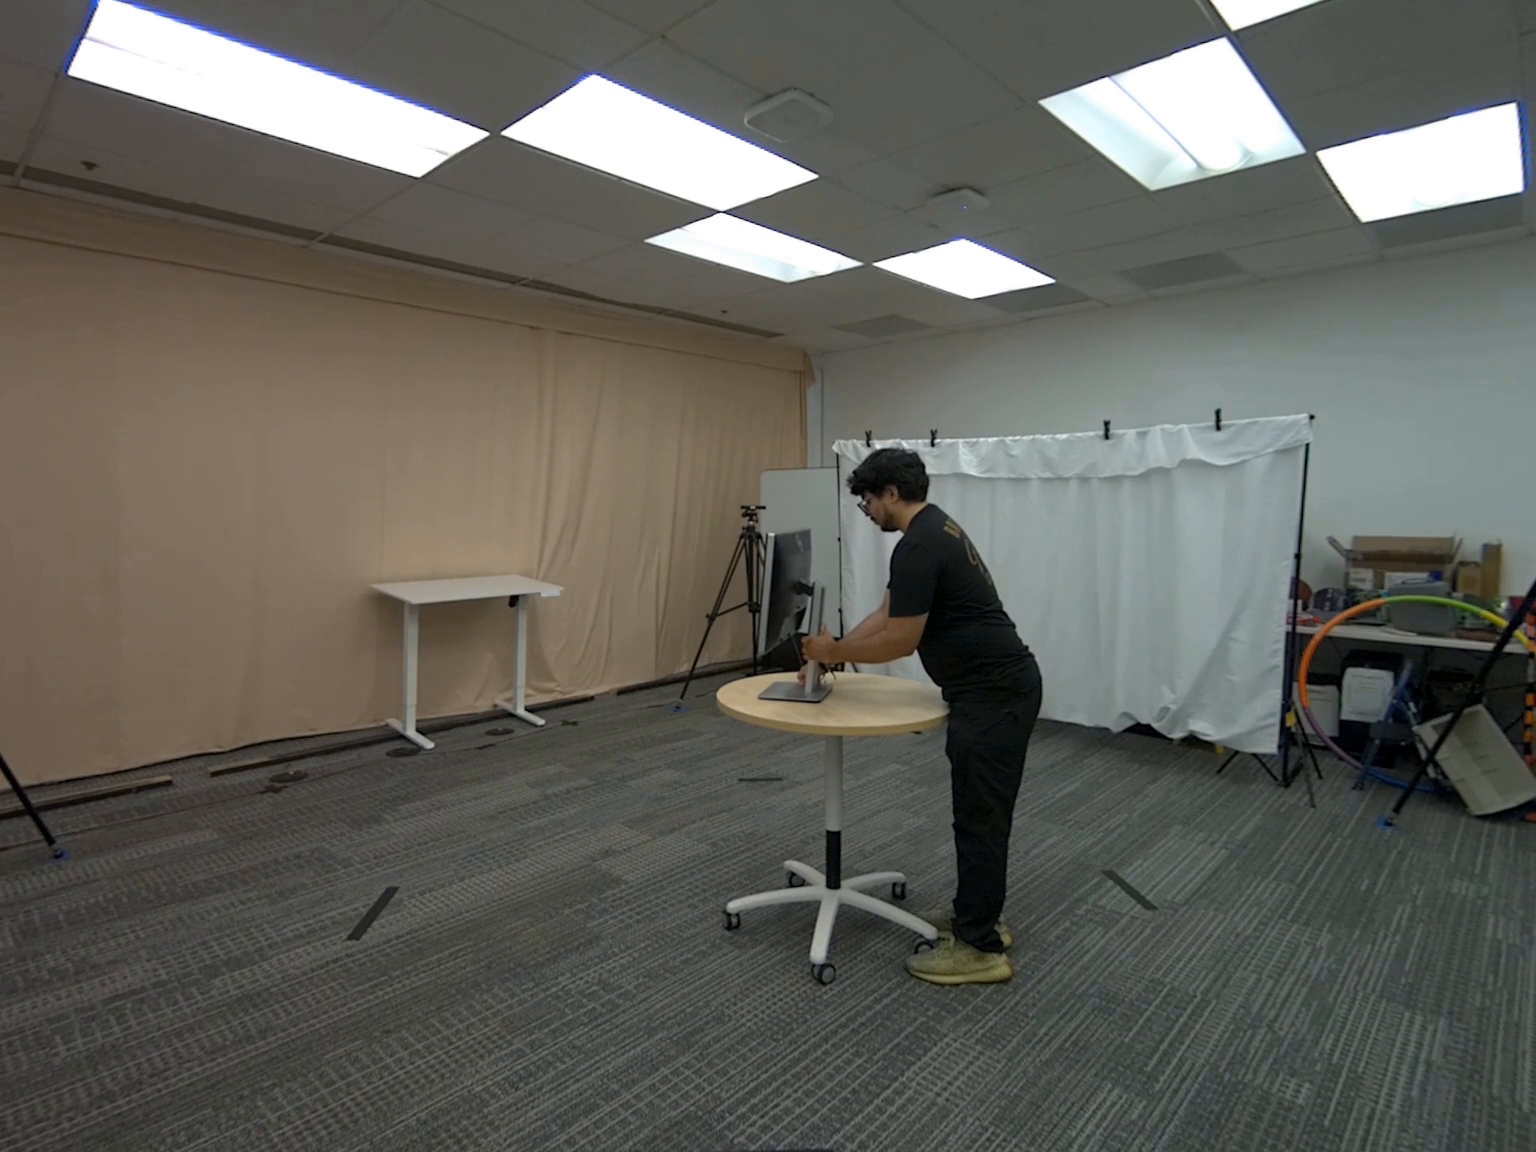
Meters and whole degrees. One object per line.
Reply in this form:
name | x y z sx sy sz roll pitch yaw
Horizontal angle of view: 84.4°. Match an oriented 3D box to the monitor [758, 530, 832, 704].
monitor | 0.121 0.125 2.739 0.214 0.552 0.557 3 5 15
